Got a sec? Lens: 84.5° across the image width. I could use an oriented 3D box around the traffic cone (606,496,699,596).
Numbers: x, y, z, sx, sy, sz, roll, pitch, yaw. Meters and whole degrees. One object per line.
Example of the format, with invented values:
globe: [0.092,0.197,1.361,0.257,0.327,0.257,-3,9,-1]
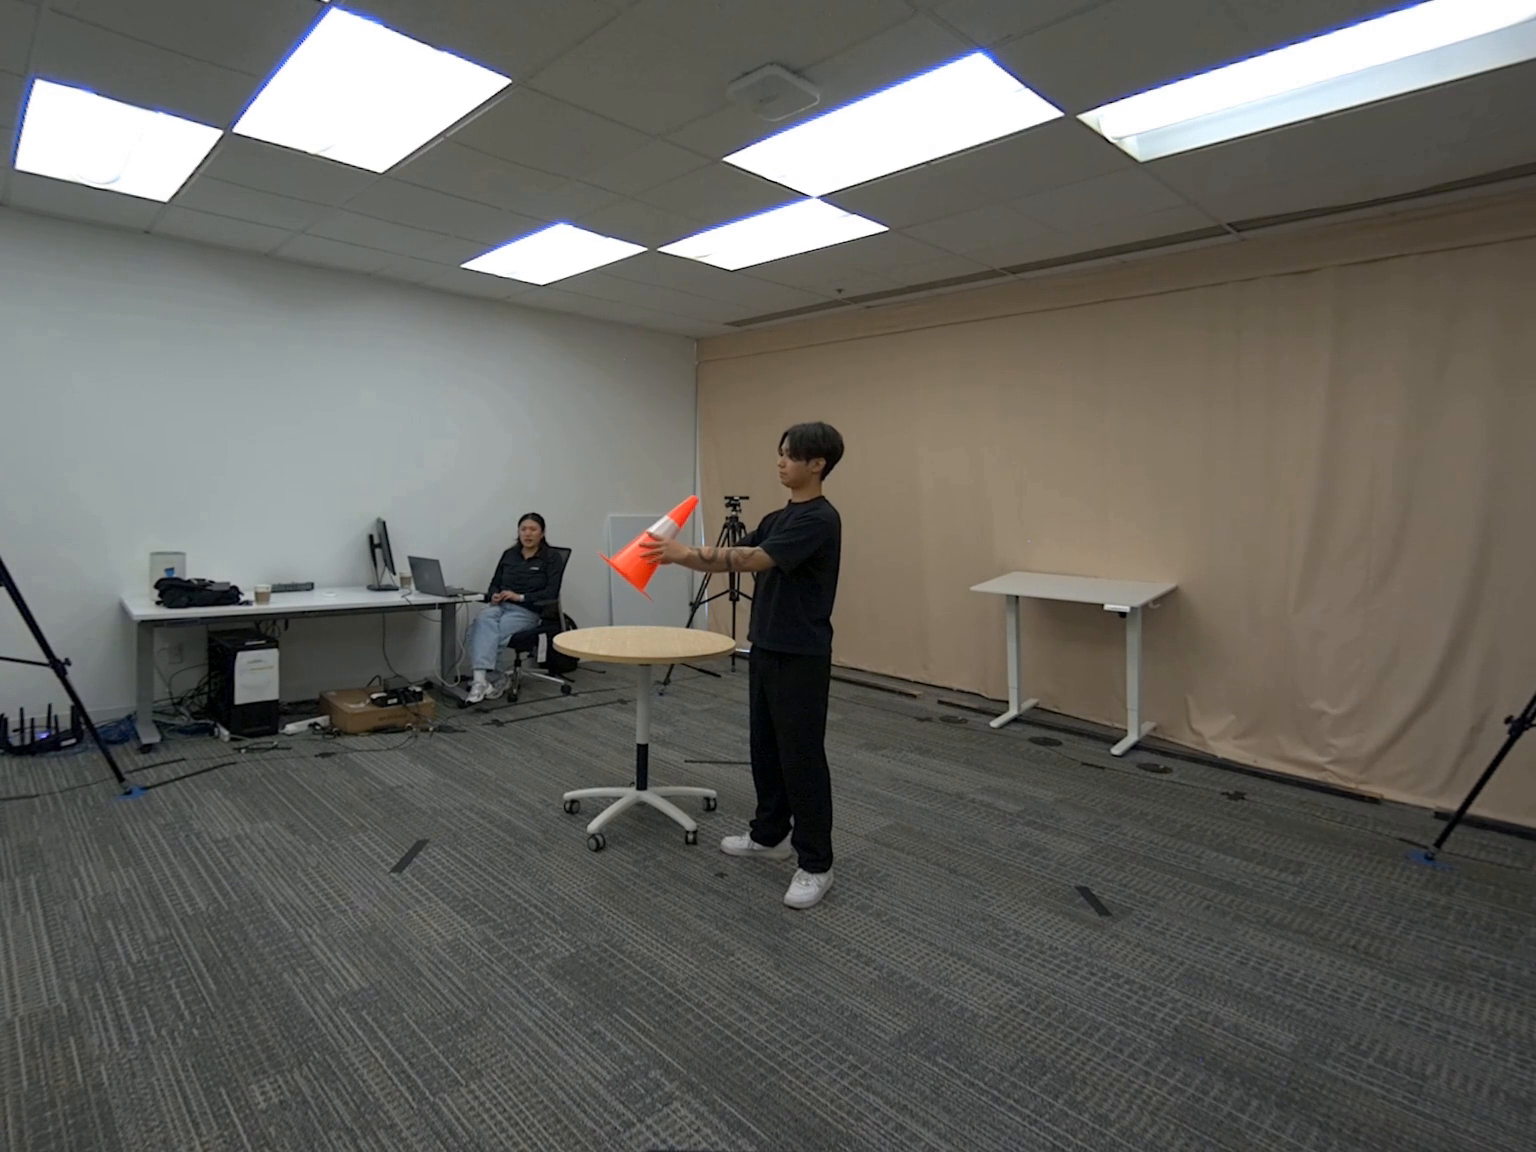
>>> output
traffic cone: [-0.383,-0.135,2.986,0.210,0.383,0.198,35,-11,46]
